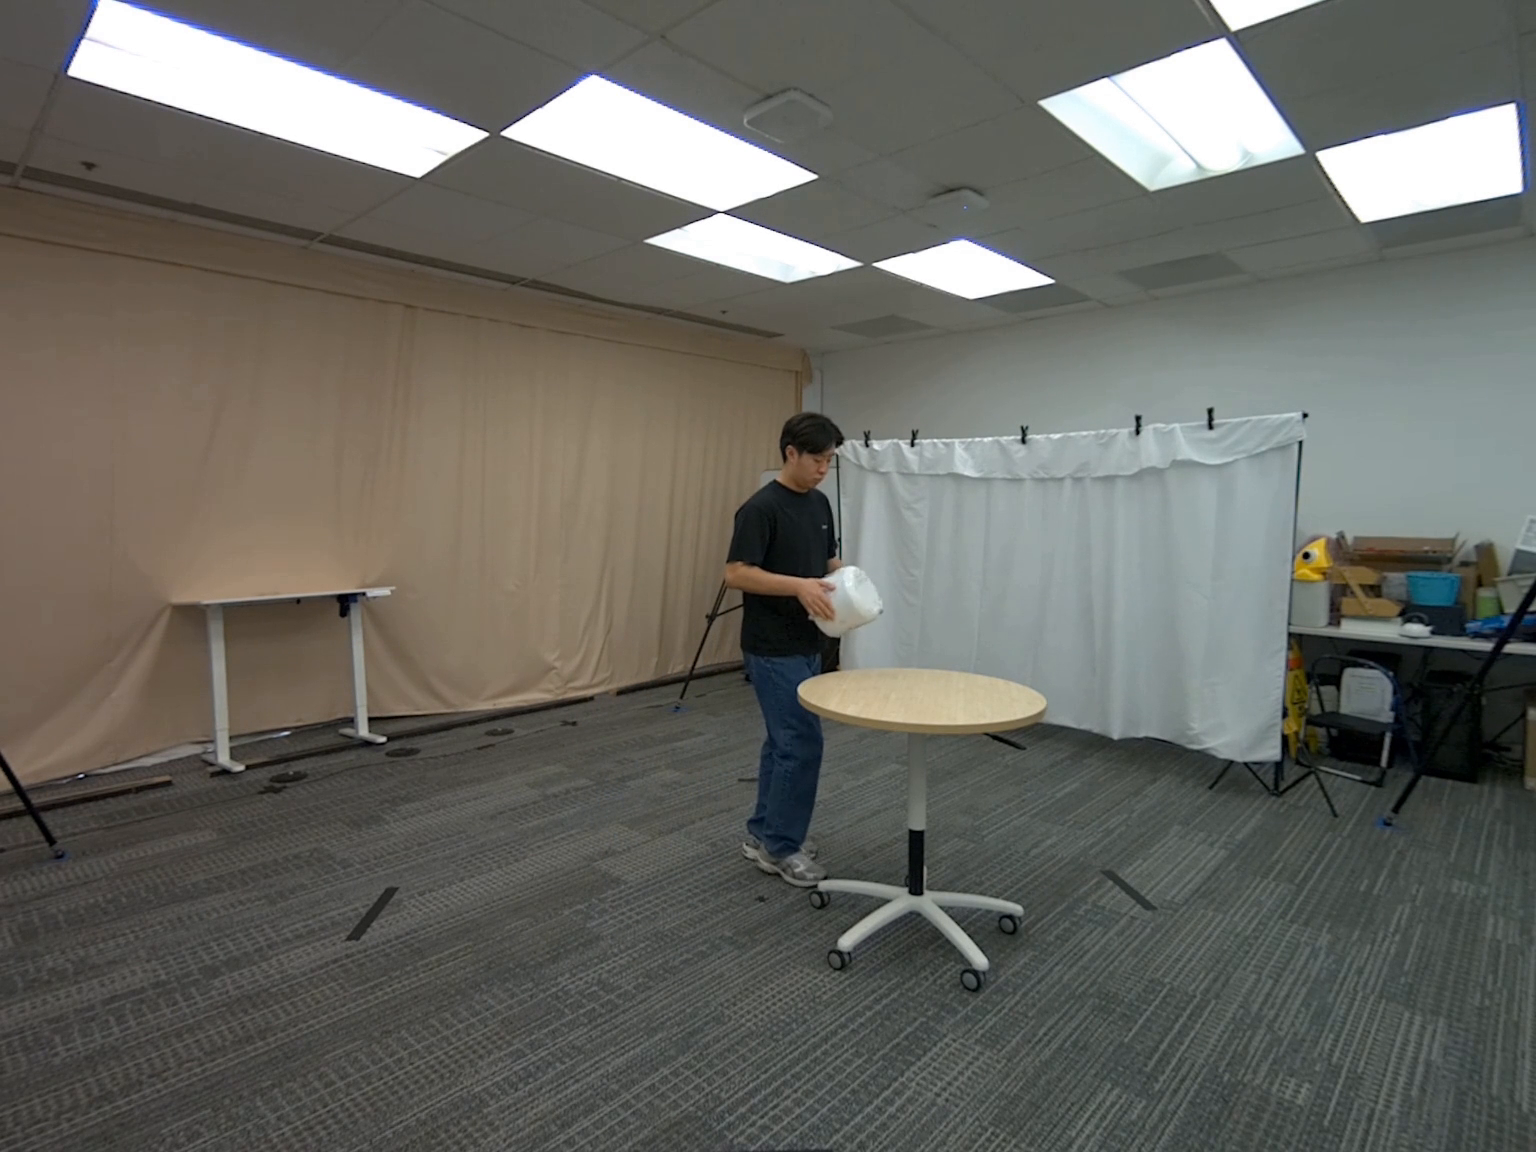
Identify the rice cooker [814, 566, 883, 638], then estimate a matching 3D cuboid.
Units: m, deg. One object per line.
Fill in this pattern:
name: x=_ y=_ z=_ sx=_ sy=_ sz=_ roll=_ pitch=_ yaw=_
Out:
rice cooker: x=0.263 y=0.092 z=3.018 sx=0.237 sy=0.218 sz=0.216 roll=-28 pitch=-2 yaw=29
